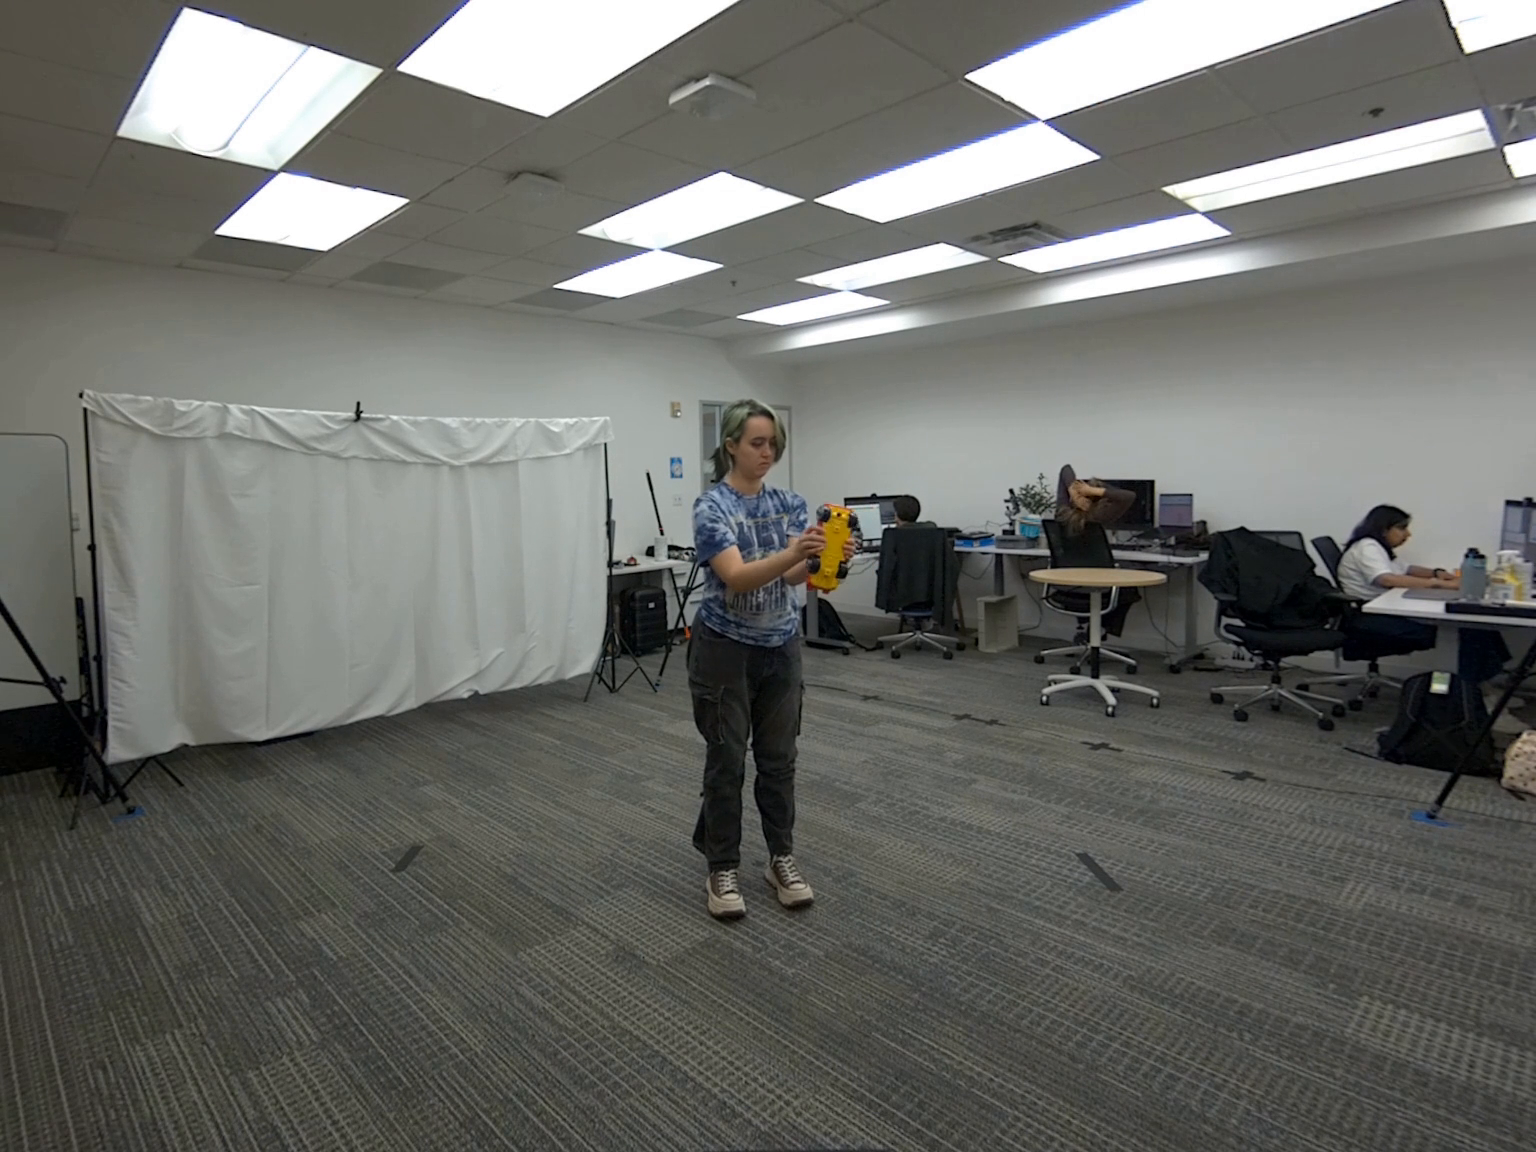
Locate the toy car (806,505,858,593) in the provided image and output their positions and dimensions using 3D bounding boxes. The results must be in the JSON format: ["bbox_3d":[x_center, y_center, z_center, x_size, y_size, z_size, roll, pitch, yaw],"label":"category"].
[{"bbox_3d":[0.176,-0.071,2.423,0.128,0.253,0.085,12,8,-19],"label":"toy car"}]
